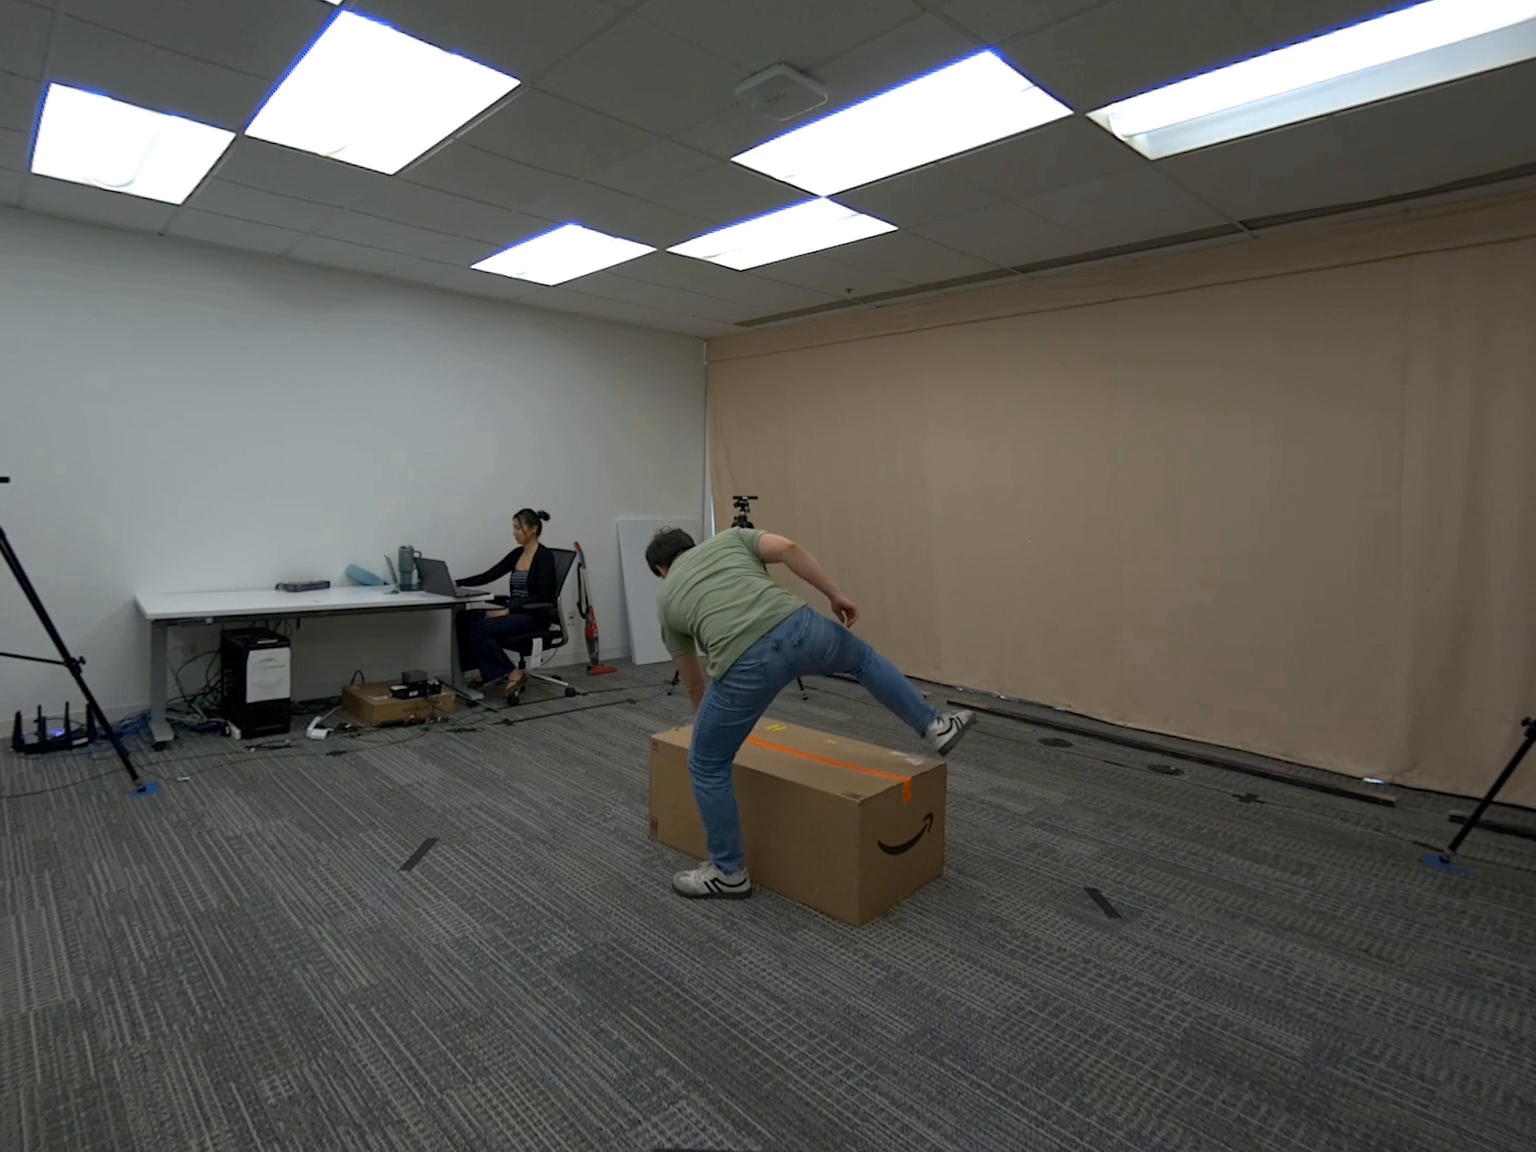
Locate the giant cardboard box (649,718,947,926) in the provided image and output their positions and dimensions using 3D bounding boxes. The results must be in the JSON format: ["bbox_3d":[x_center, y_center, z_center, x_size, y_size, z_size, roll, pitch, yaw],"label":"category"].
[{"bbox_3d":[0.082,0.882,3.277,1.052,0.425,0.564,5,6,42],"label":"giant cardboard box"}]
